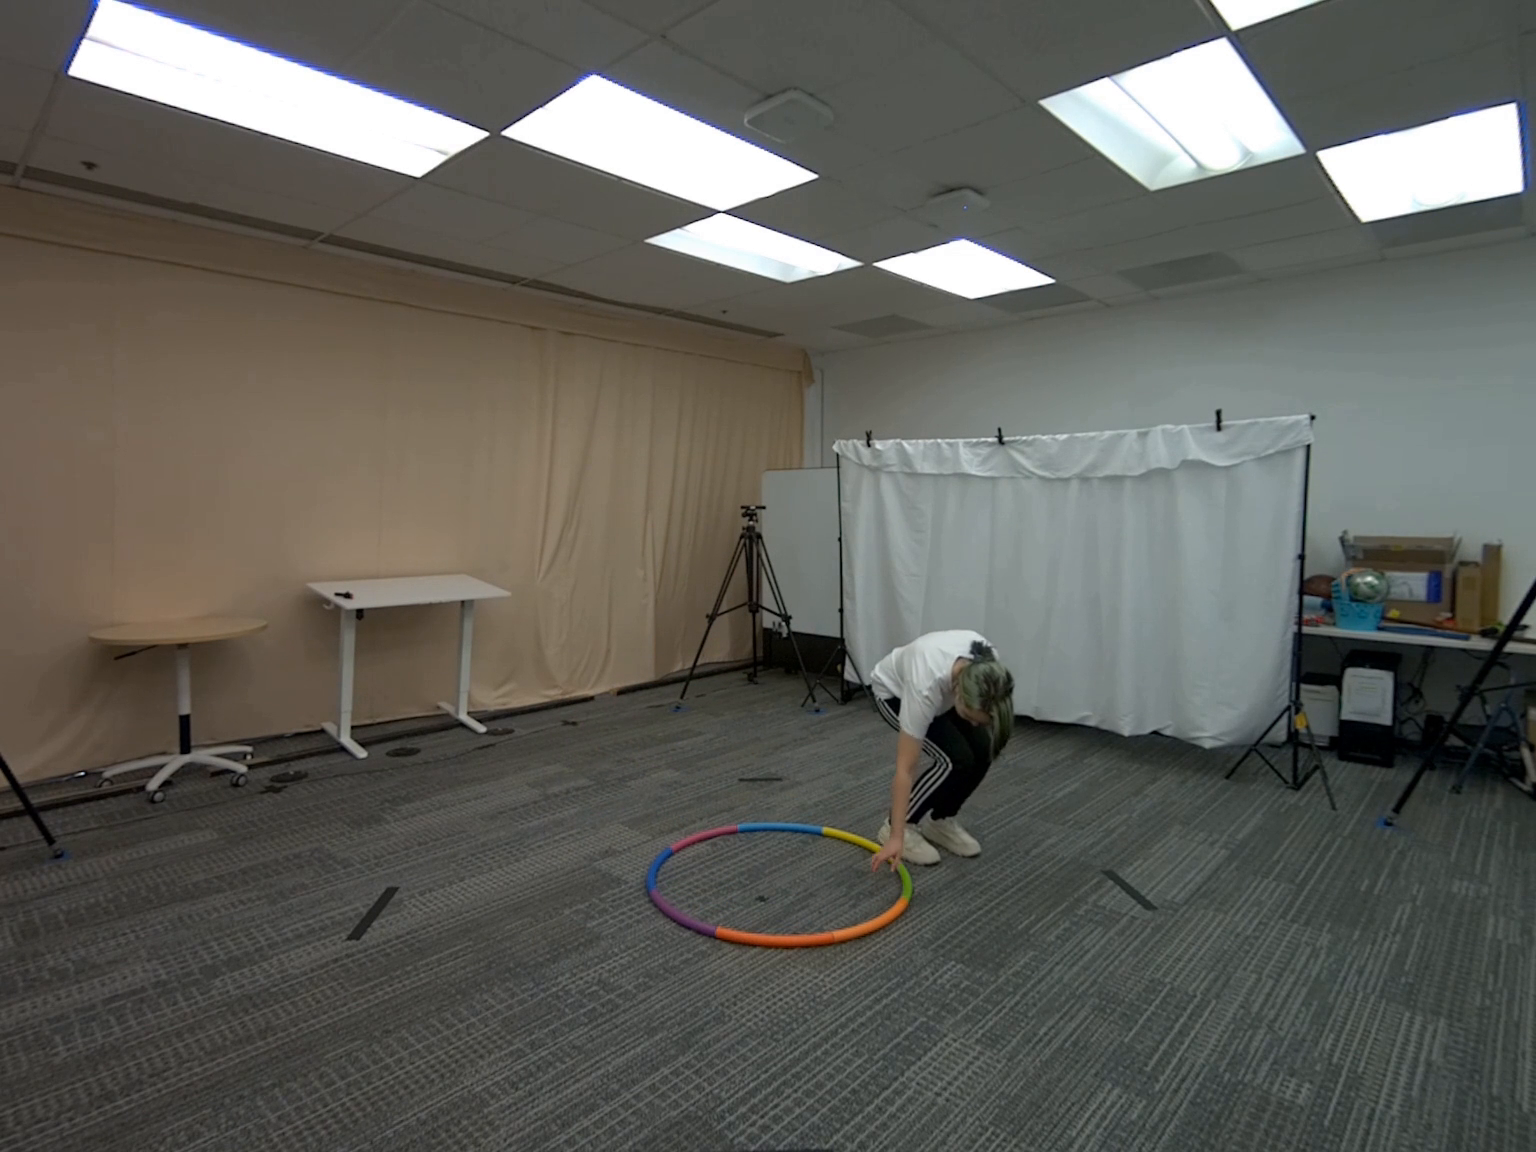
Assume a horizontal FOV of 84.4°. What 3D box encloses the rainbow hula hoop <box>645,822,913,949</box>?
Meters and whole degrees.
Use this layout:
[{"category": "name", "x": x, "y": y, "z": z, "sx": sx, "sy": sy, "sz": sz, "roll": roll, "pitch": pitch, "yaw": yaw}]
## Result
[{"category": "rainbow hula hoop", "x": 0.039, "y": 1.097, "z": 3.136, "sx": 0.978, "sy": 0.035, "sz": 0.982, "roll": -1, "pitch": 5, "yaw": -2}]
